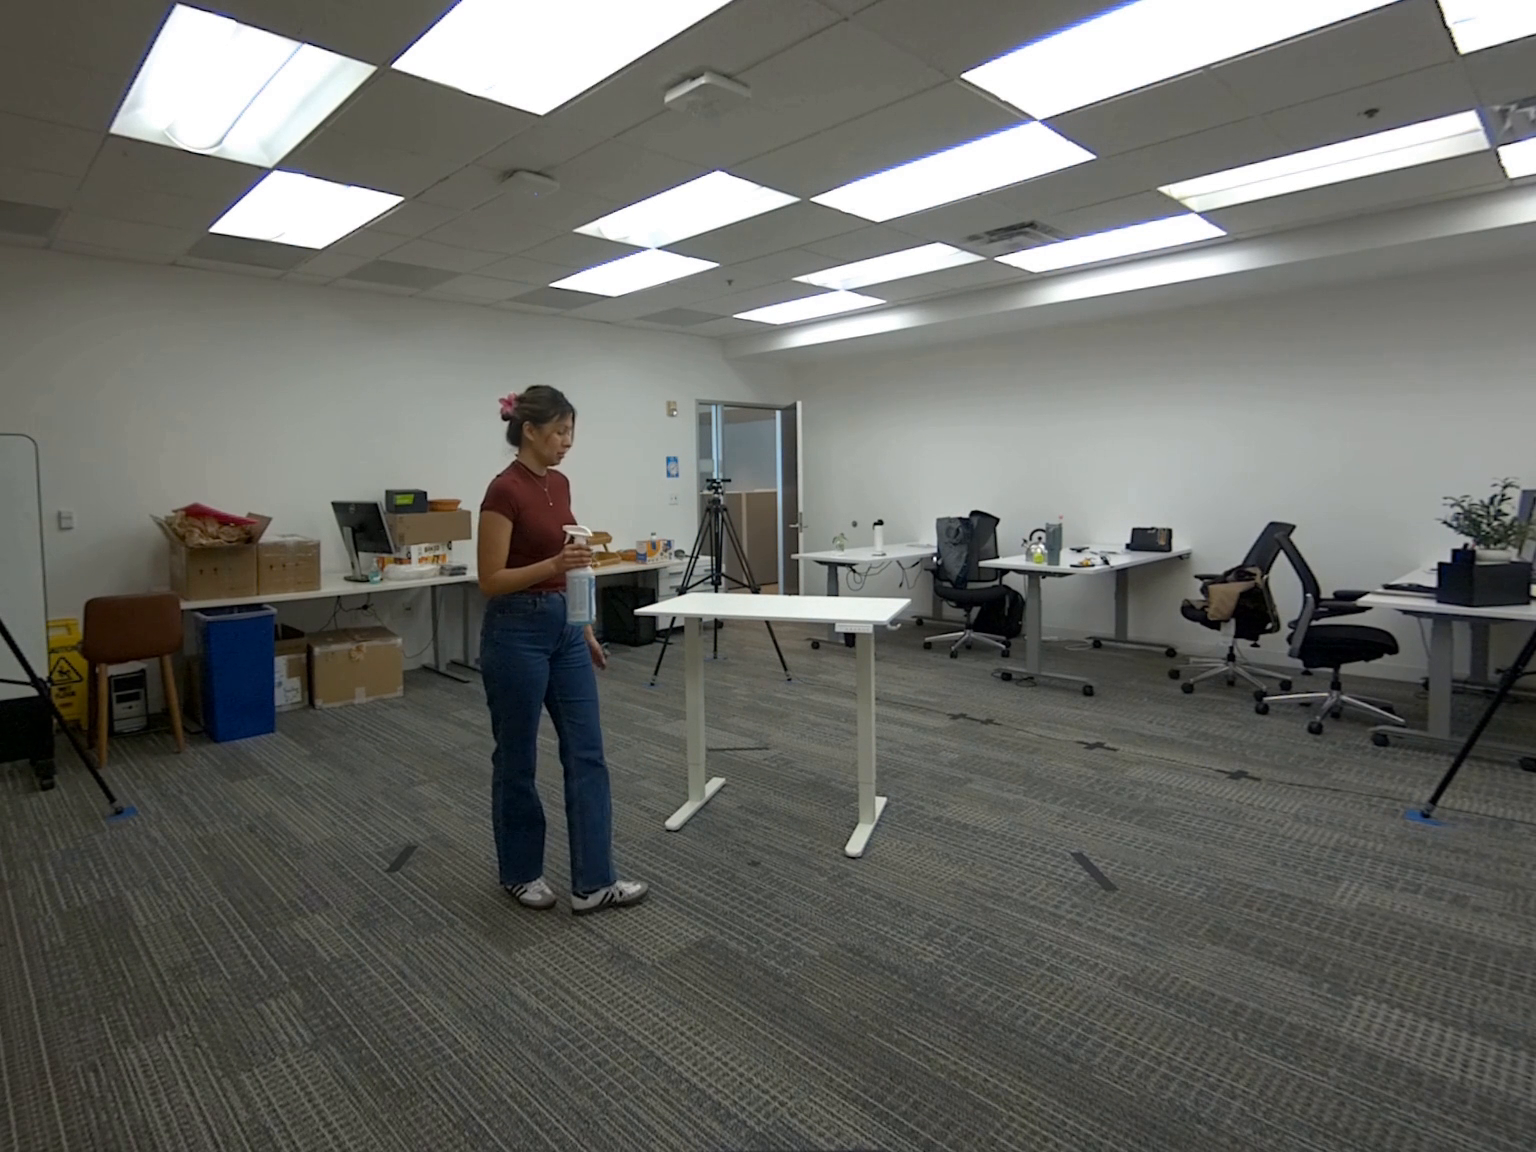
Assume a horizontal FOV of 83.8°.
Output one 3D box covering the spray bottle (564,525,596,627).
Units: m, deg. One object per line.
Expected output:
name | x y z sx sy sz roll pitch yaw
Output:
spray bottle | -0.566 -0.006 2.560 0.092 0.297 0.085 0 3 35
